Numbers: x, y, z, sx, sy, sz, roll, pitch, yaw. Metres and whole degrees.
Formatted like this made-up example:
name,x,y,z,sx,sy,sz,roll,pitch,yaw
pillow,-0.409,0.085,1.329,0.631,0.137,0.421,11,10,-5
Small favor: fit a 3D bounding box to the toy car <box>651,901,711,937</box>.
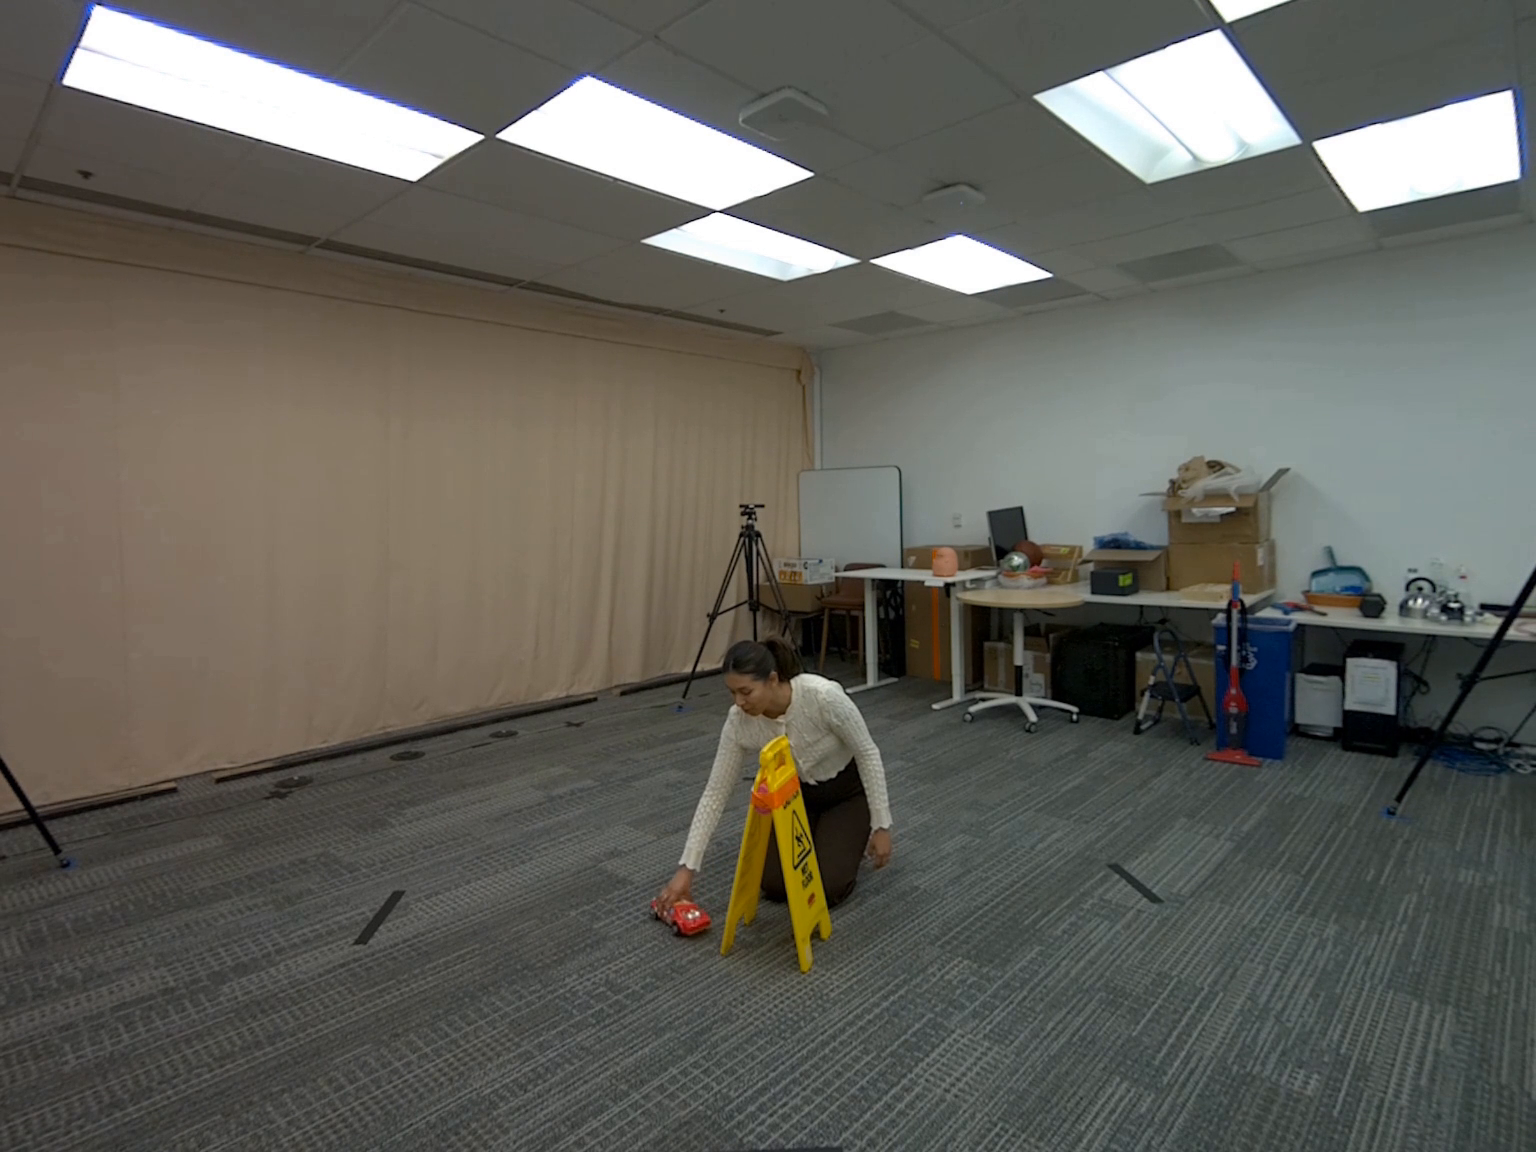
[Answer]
name,x,y,z,sx,sy,sz,roll,pitch,yaw
toy car,-0.289,1.134,2.796,0.126,0.083,0.261,-5,-6,-35
